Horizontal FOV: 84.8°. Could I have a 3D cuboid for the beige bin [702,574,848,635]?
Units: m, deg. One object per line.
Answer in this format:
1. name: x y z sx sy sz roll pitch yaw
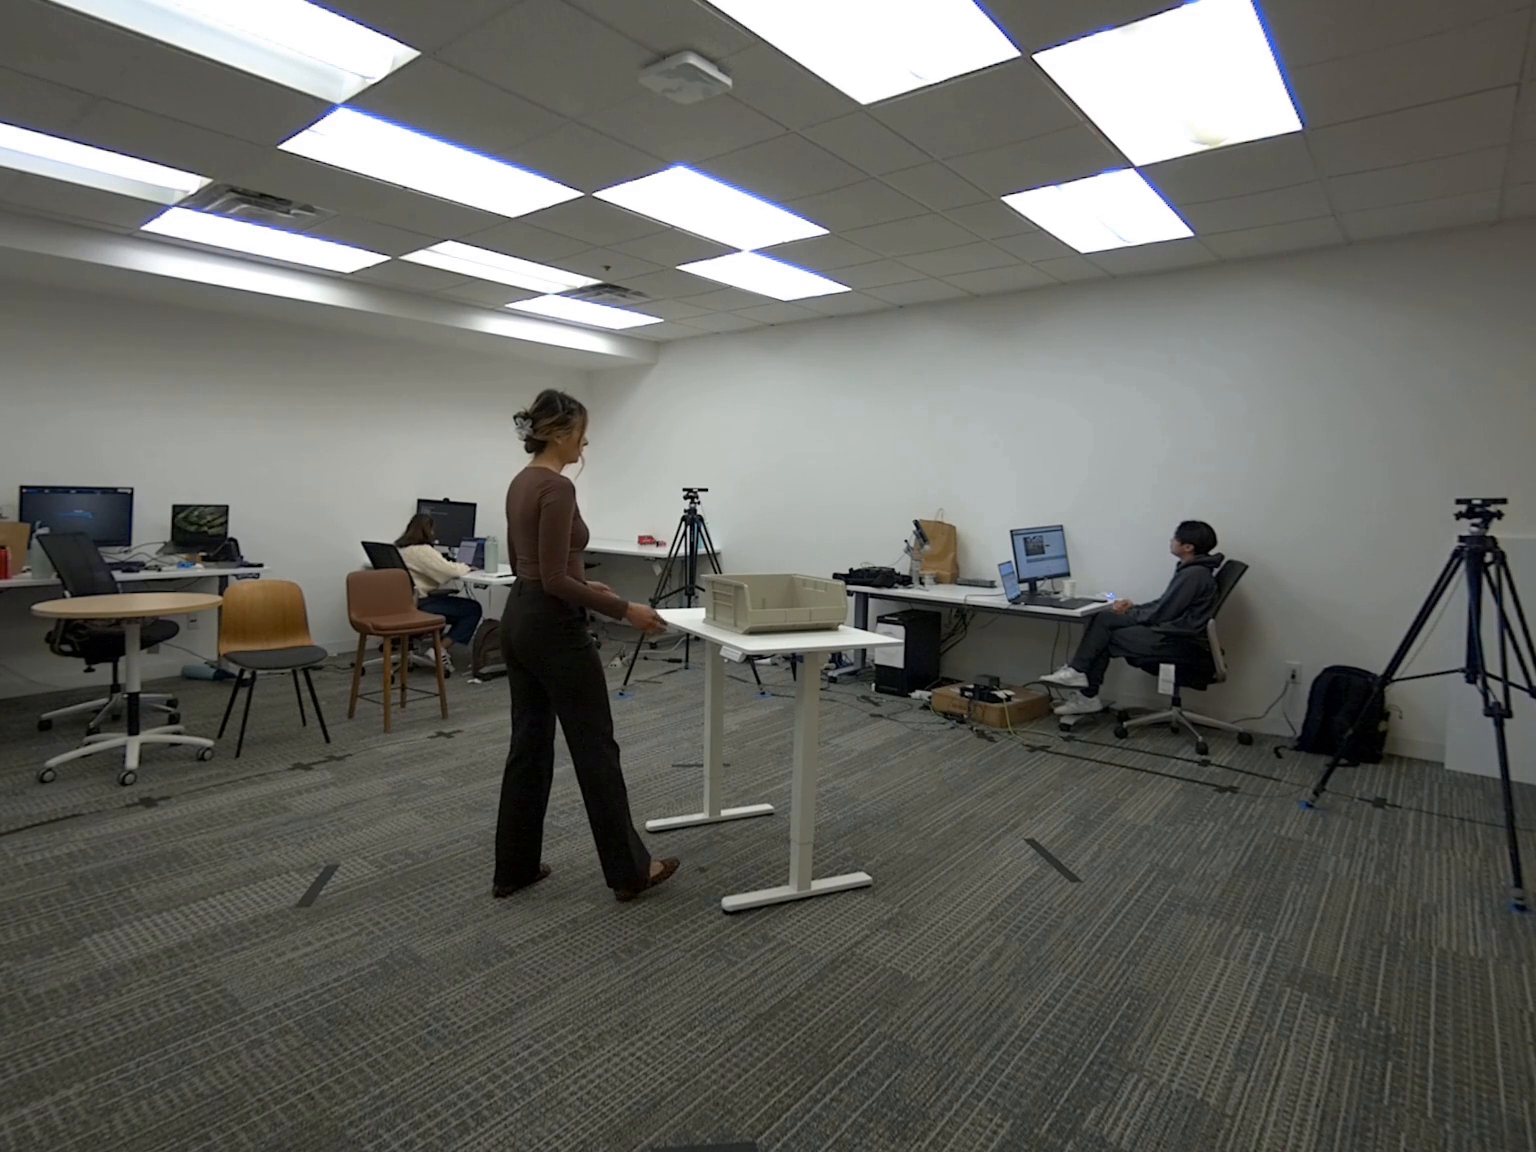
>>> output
1. beige bin: 0.015 0.099 3.155 0.411 0.188 0.388 -2 5 -29
